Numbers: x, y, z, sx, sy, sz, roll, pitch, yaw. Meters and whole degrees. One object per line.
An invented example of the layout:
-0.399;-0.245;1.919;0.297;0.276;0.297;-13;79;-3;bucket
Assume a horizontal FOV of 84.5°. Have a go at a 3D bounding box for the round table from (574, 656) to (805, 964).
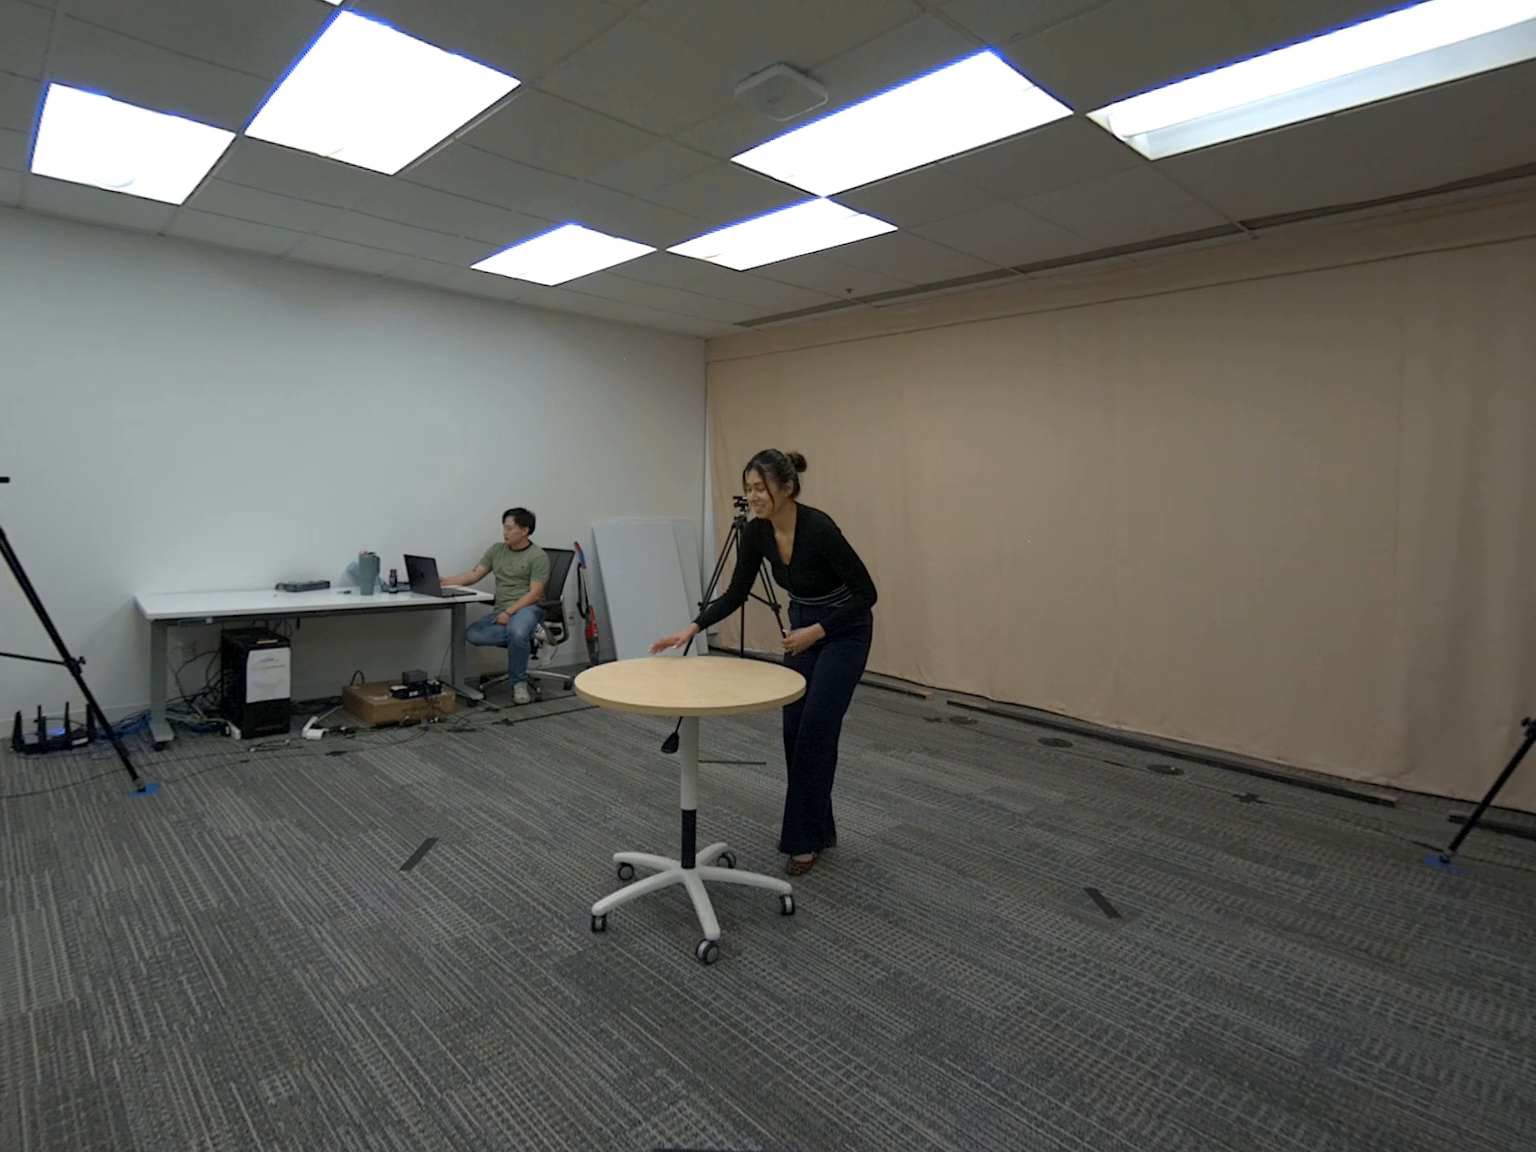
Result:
-0.271;0.737;2.820;0.763;0.792;0.766;1;4;-1;round table
